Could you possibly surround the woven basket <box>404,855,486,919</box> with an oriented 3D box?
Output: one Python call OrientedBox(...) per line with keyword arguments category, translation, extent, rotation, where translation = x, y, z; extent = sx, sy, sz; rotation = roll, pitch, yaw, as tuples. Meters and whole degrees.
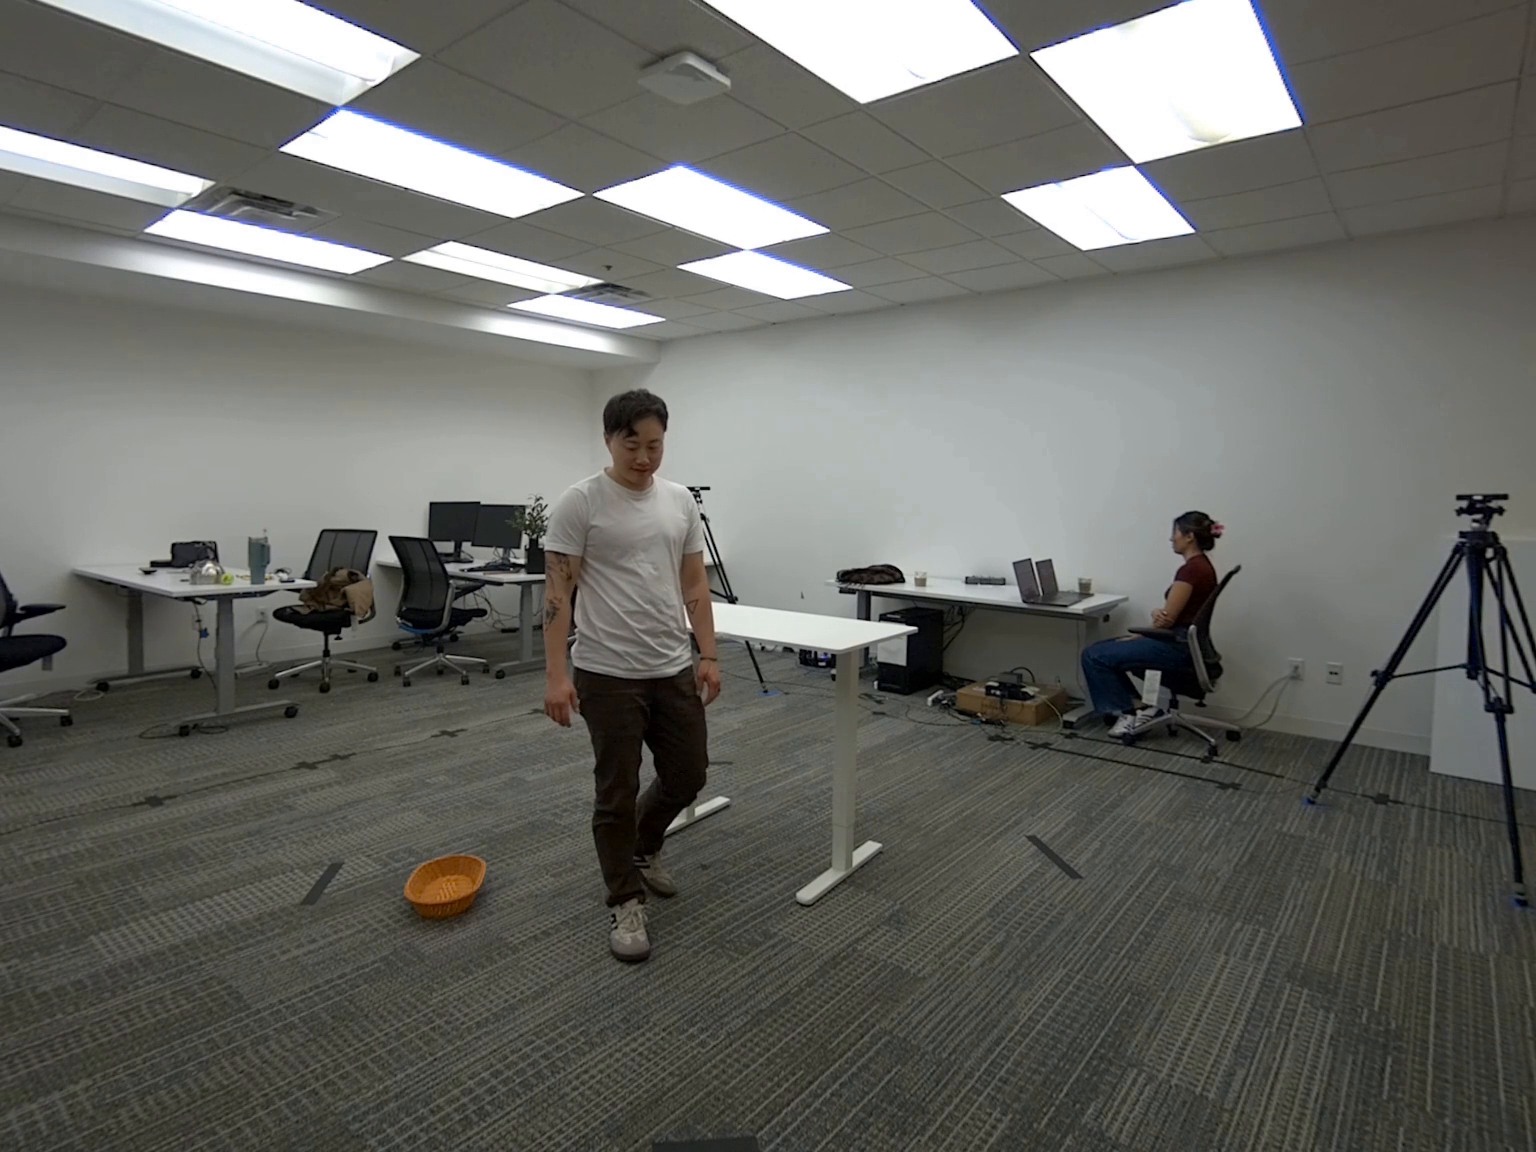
OrientedBox(category="woven basket", translation=(-1.095, 1.045, 2.860), extent=(0.251, 0.073, 0.354), rotation=(-1, 6, -6))
